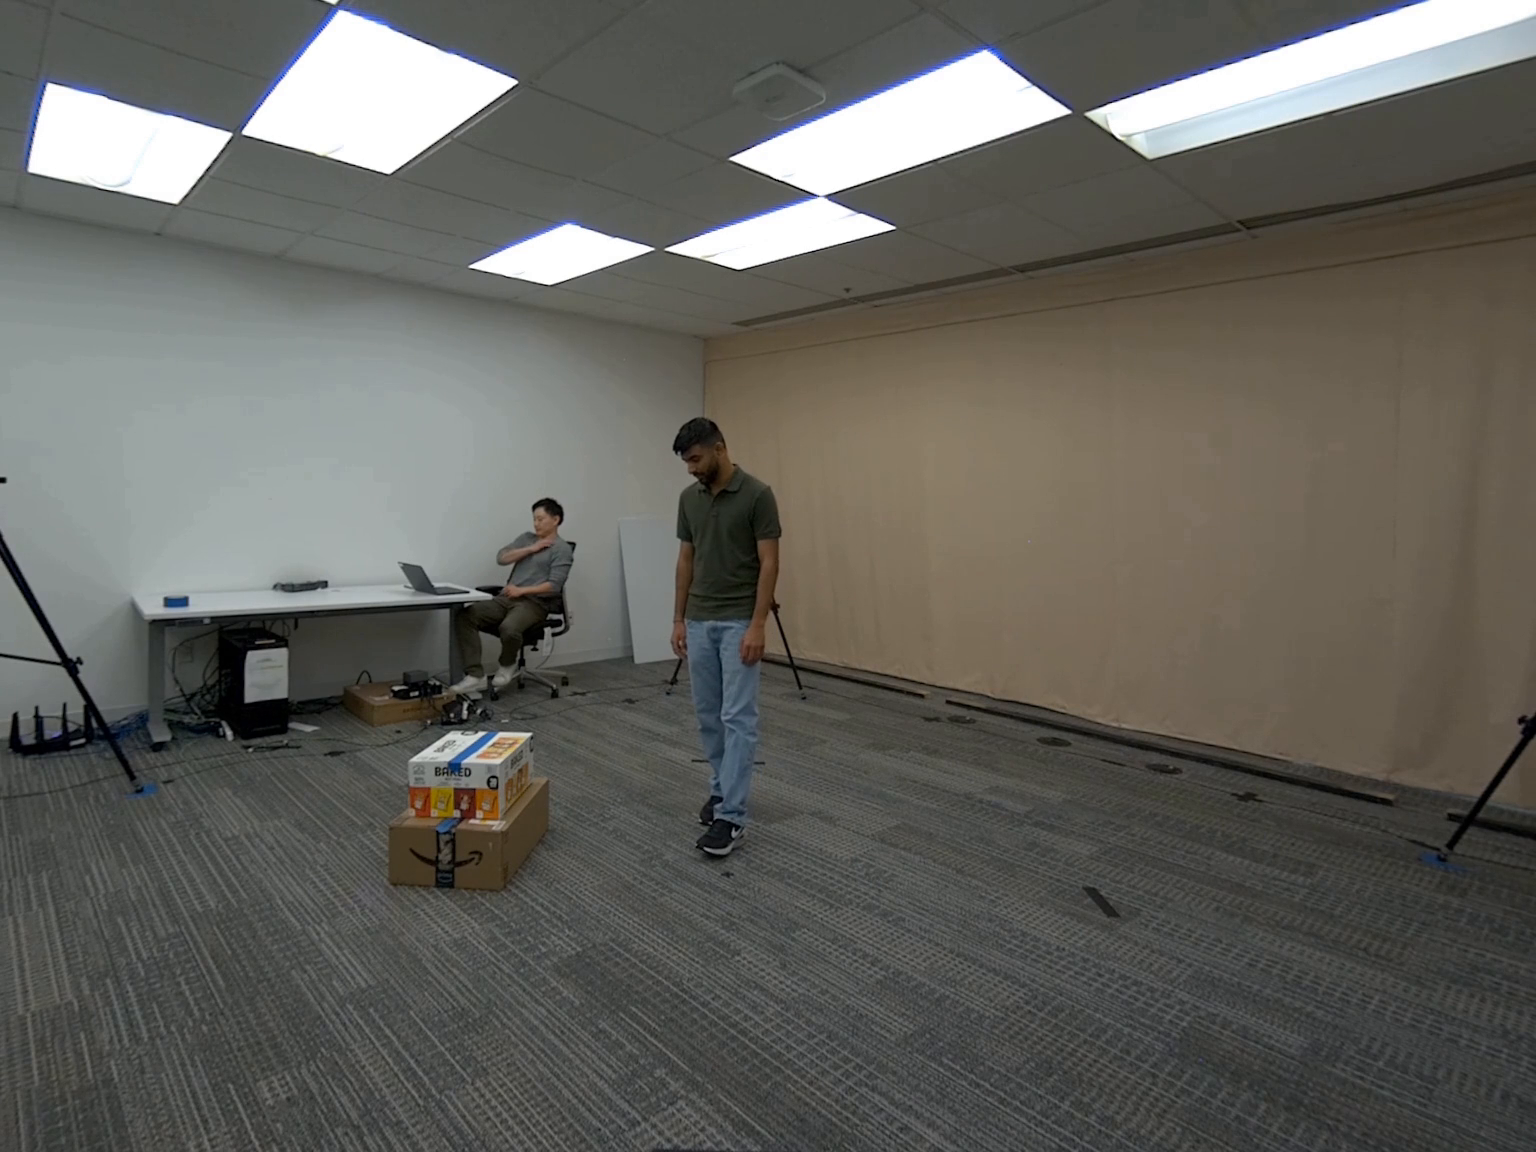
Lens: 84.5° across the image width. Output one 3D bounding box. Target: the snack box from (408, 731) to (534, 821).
[{"bbox_3d":[-1.130,0.752,3.220,0.341,0.205,0.405,1,5,3],"label":"snack box"}]
